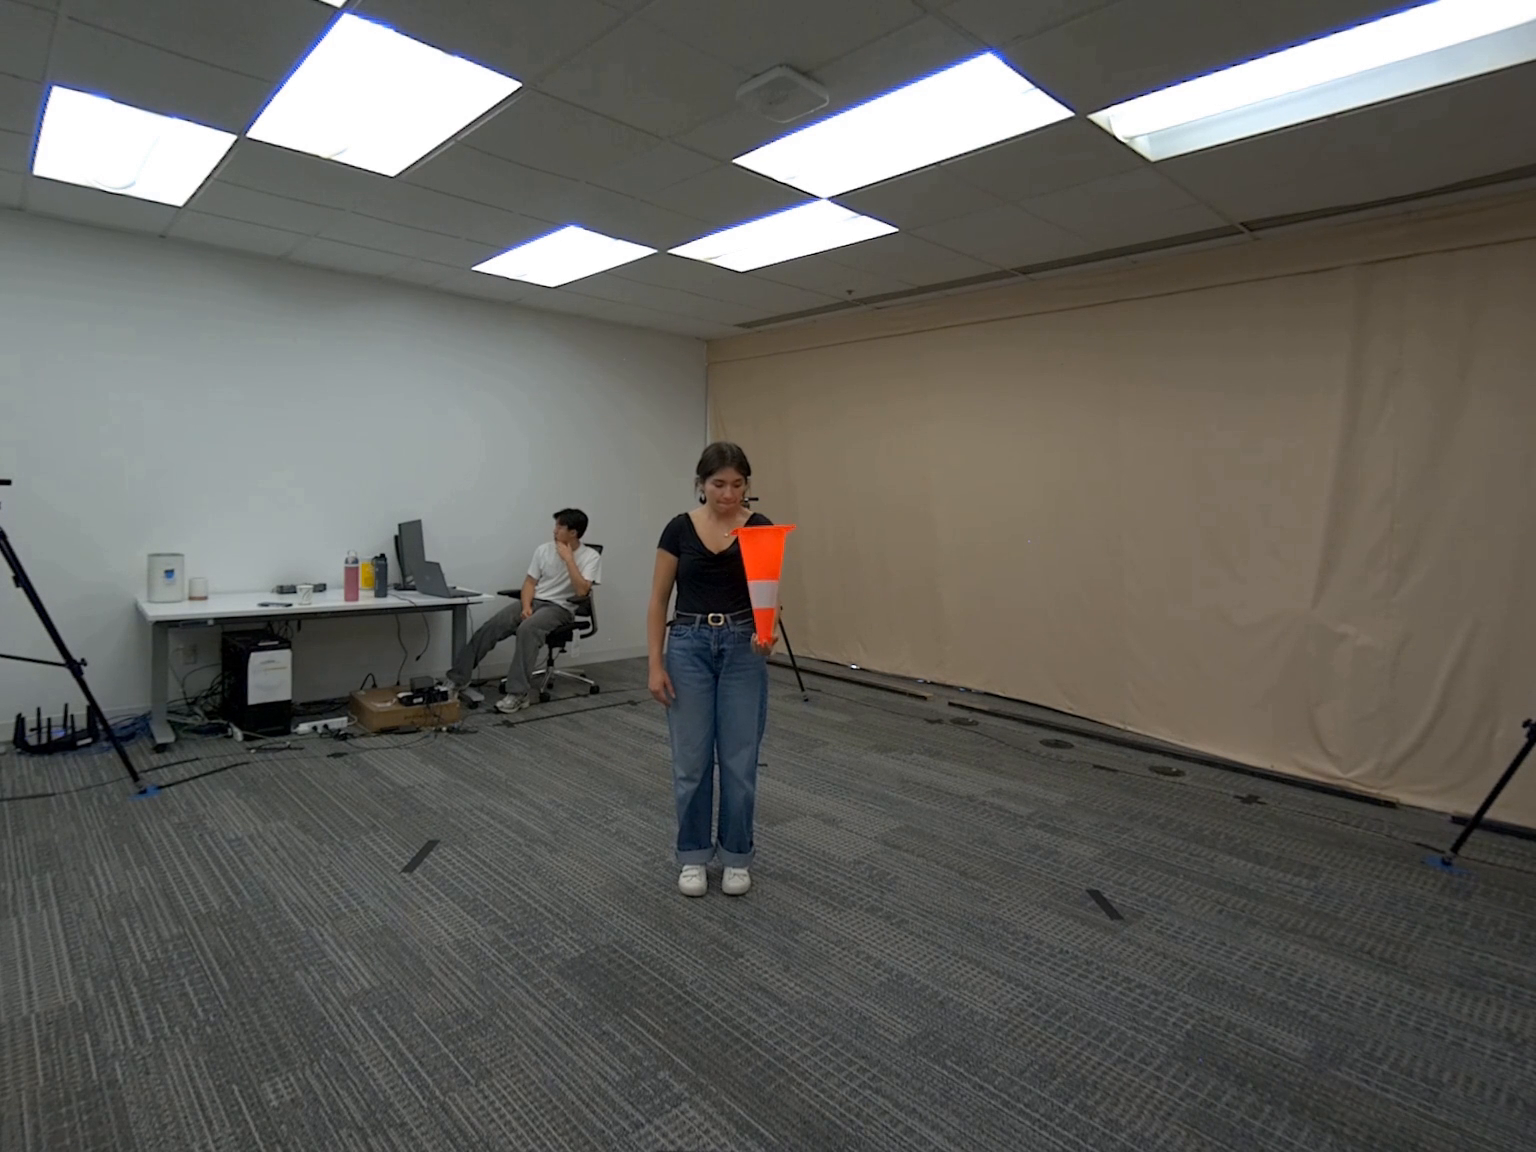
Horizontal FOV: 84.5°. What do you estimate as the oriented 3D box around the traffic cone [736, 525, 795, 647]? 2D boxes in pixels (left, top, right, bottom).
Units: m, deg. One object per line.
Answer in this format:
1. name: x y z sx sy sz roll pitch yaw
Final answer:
1. traffic cone: -0.030 0.045 2.725 0.204 0.386 0.203 0 -9 -7
